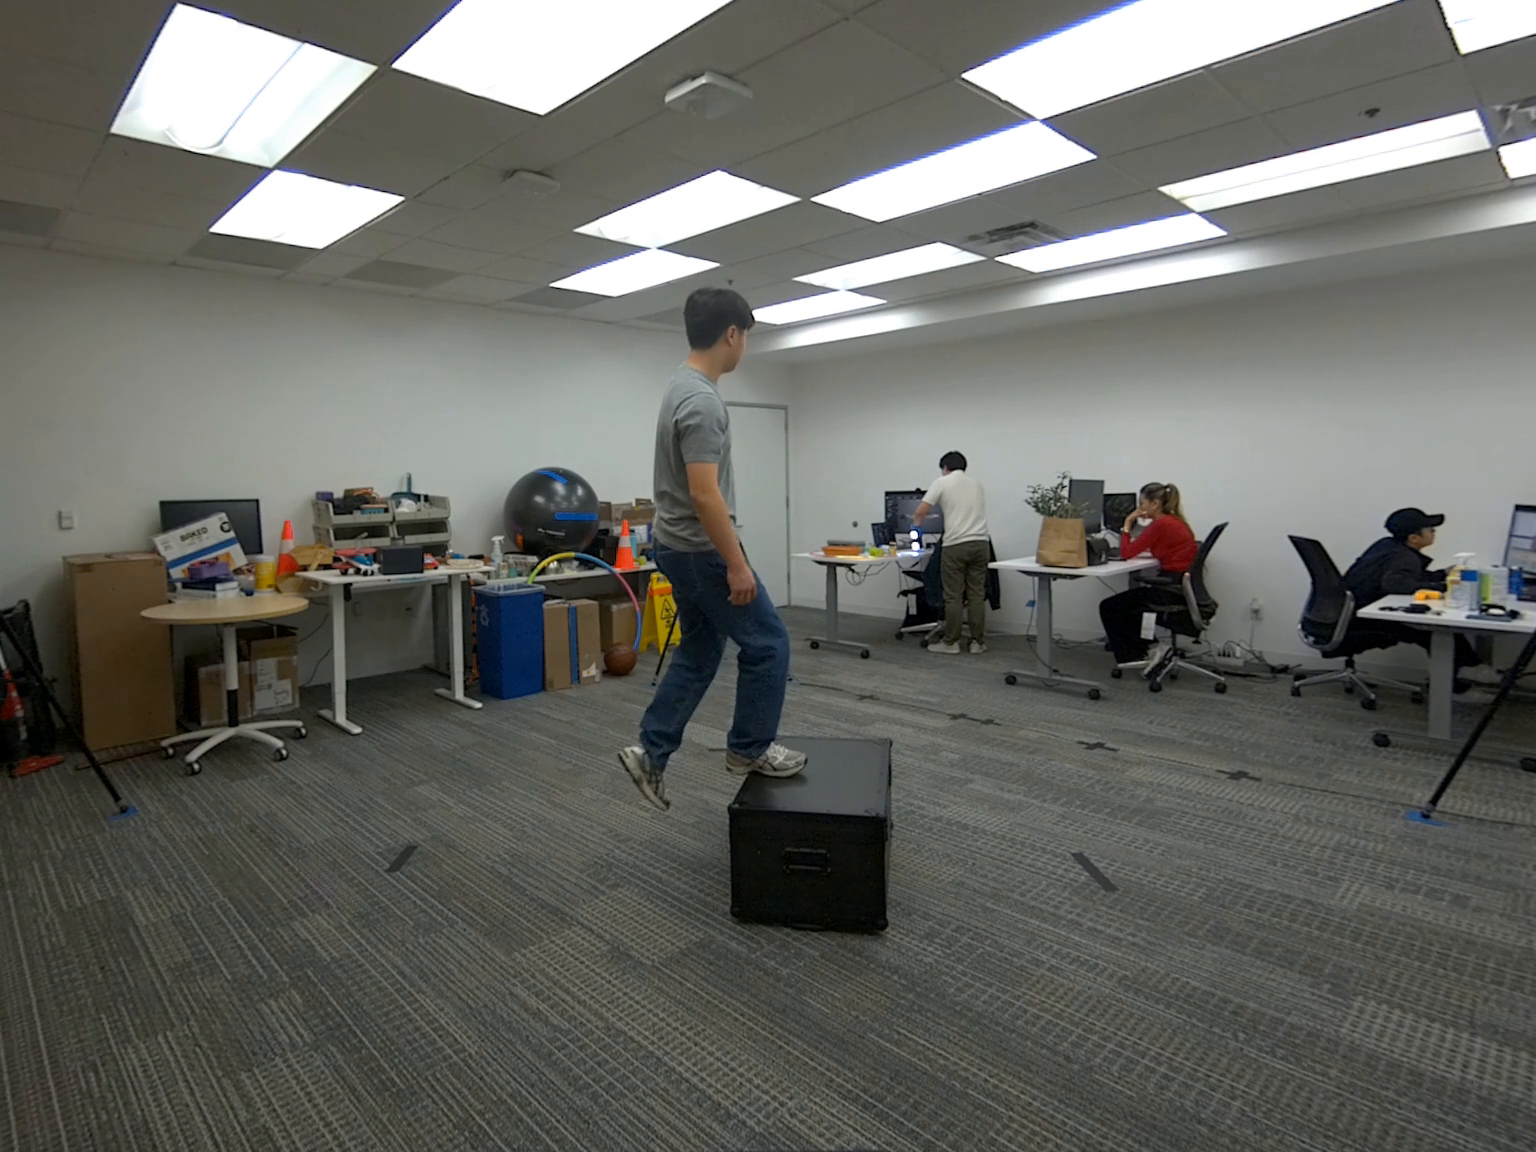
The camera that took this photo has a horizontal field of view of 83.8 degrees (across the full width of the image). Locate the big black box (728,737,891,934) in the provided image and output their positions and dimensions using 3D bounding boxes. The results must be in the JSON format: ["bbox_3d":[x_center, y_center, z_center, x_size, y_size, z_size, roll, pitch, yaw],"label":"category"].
[{"bbox_3d":[0.190,0.857,3.032,0.527,0.394,0.856,-1,6,11],"label":"big black box"}]
